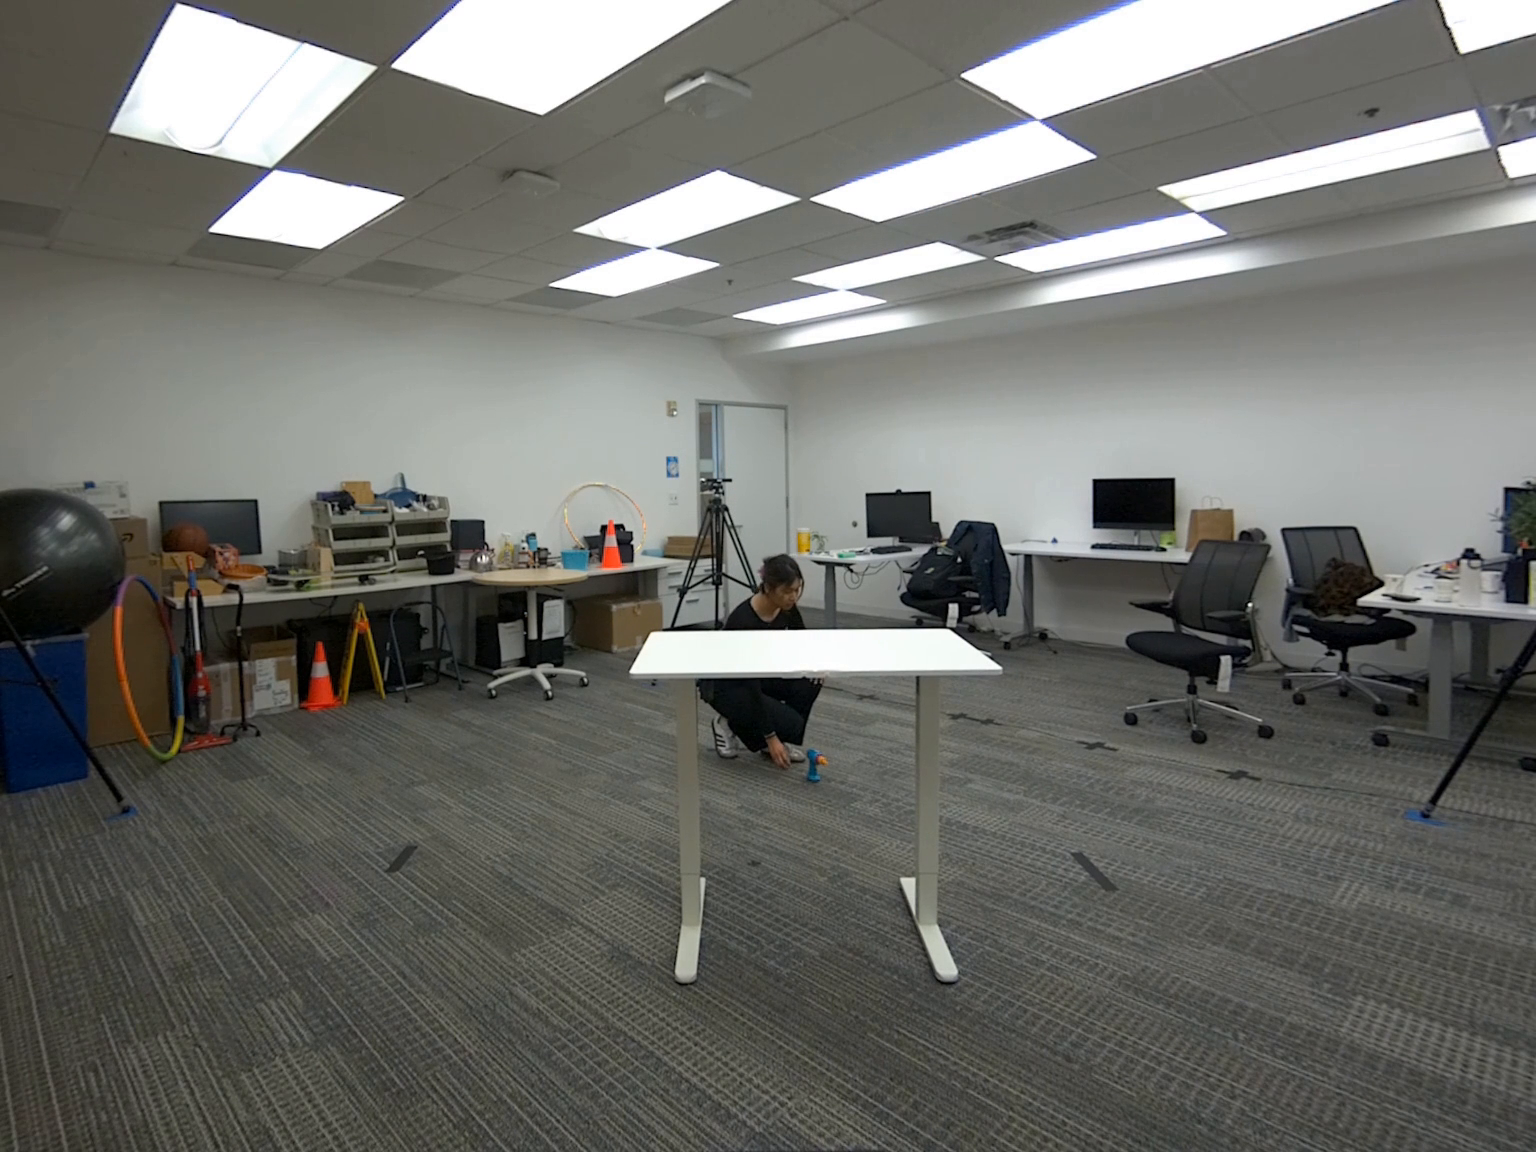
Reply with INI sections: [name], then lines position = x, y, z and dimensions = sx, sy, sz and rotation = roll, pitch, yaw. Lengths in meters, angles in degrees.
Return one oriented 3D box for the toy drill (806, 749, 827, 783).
[toy drill]
position = 0.223, 0.878, 3.930
dimensions = 0.060, 0.145, 0.174
rotation = 0, 5, -28
